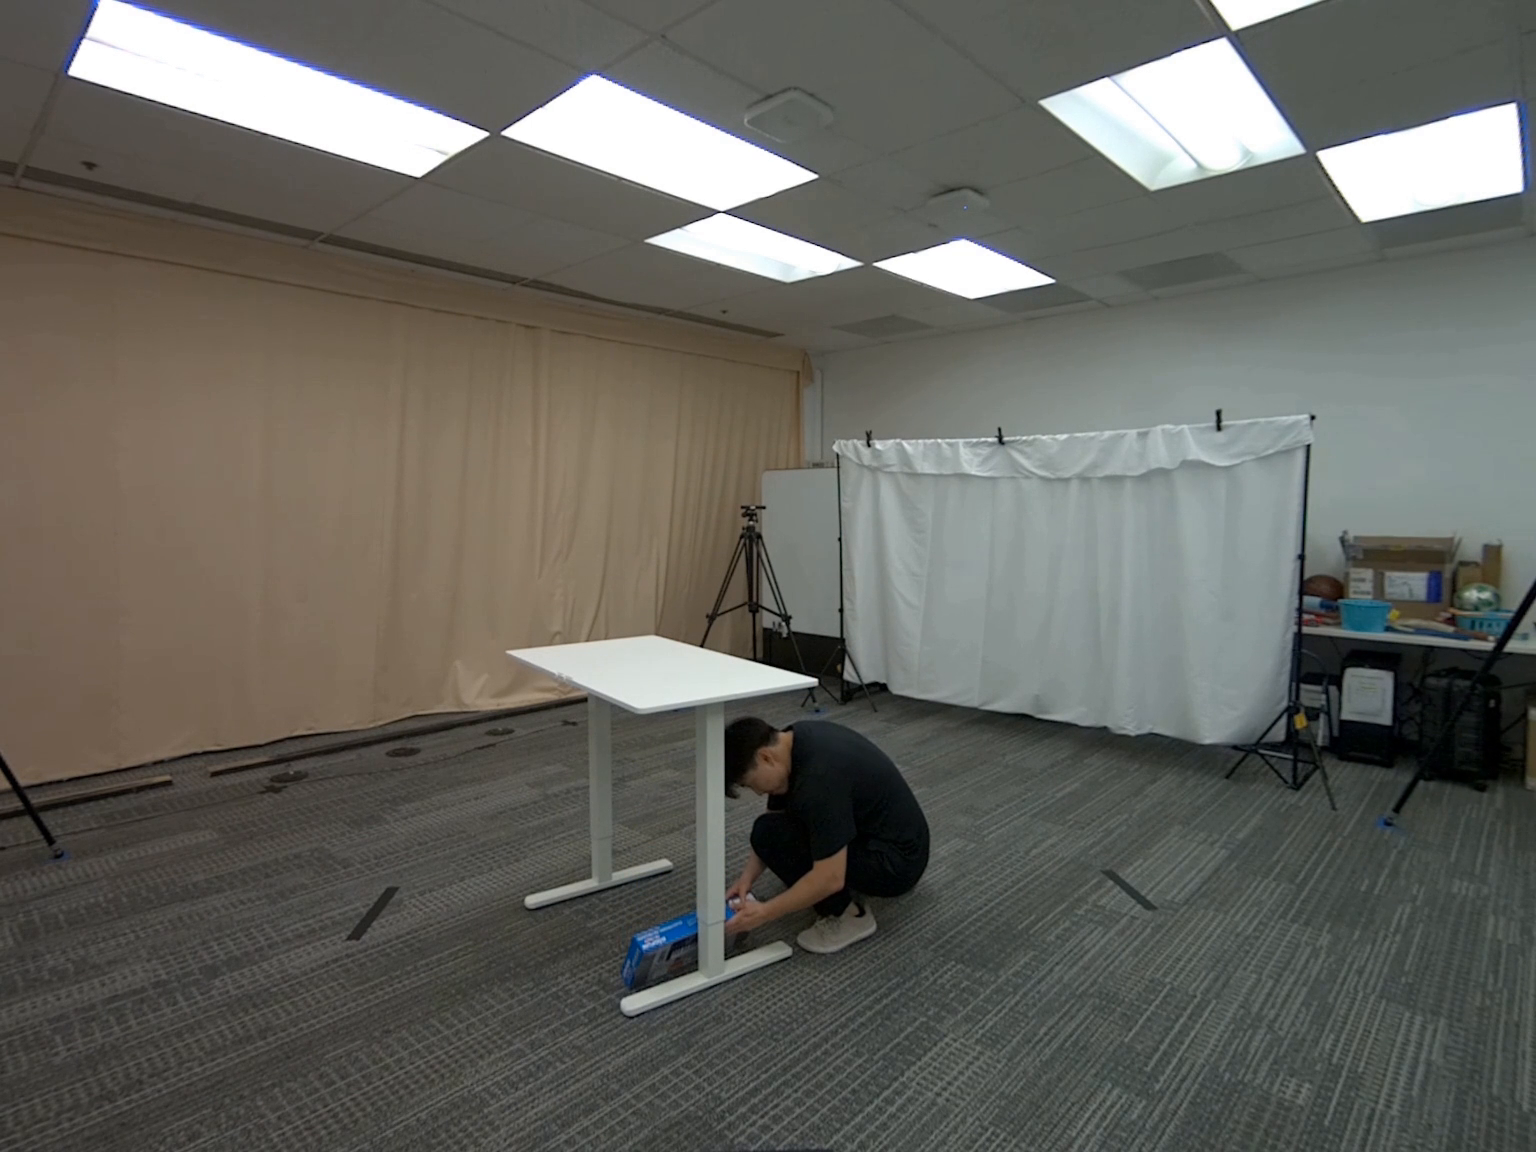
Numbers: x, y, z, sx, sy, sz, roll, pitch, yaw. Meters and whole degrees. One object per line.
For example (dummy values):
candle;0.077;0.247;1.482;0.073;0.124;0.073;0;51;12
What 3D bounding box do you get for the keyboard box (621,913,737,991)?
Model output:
keyboard box;-0.224;1.100;2.532;0.424;0.175;0.061;-4;33;-38
